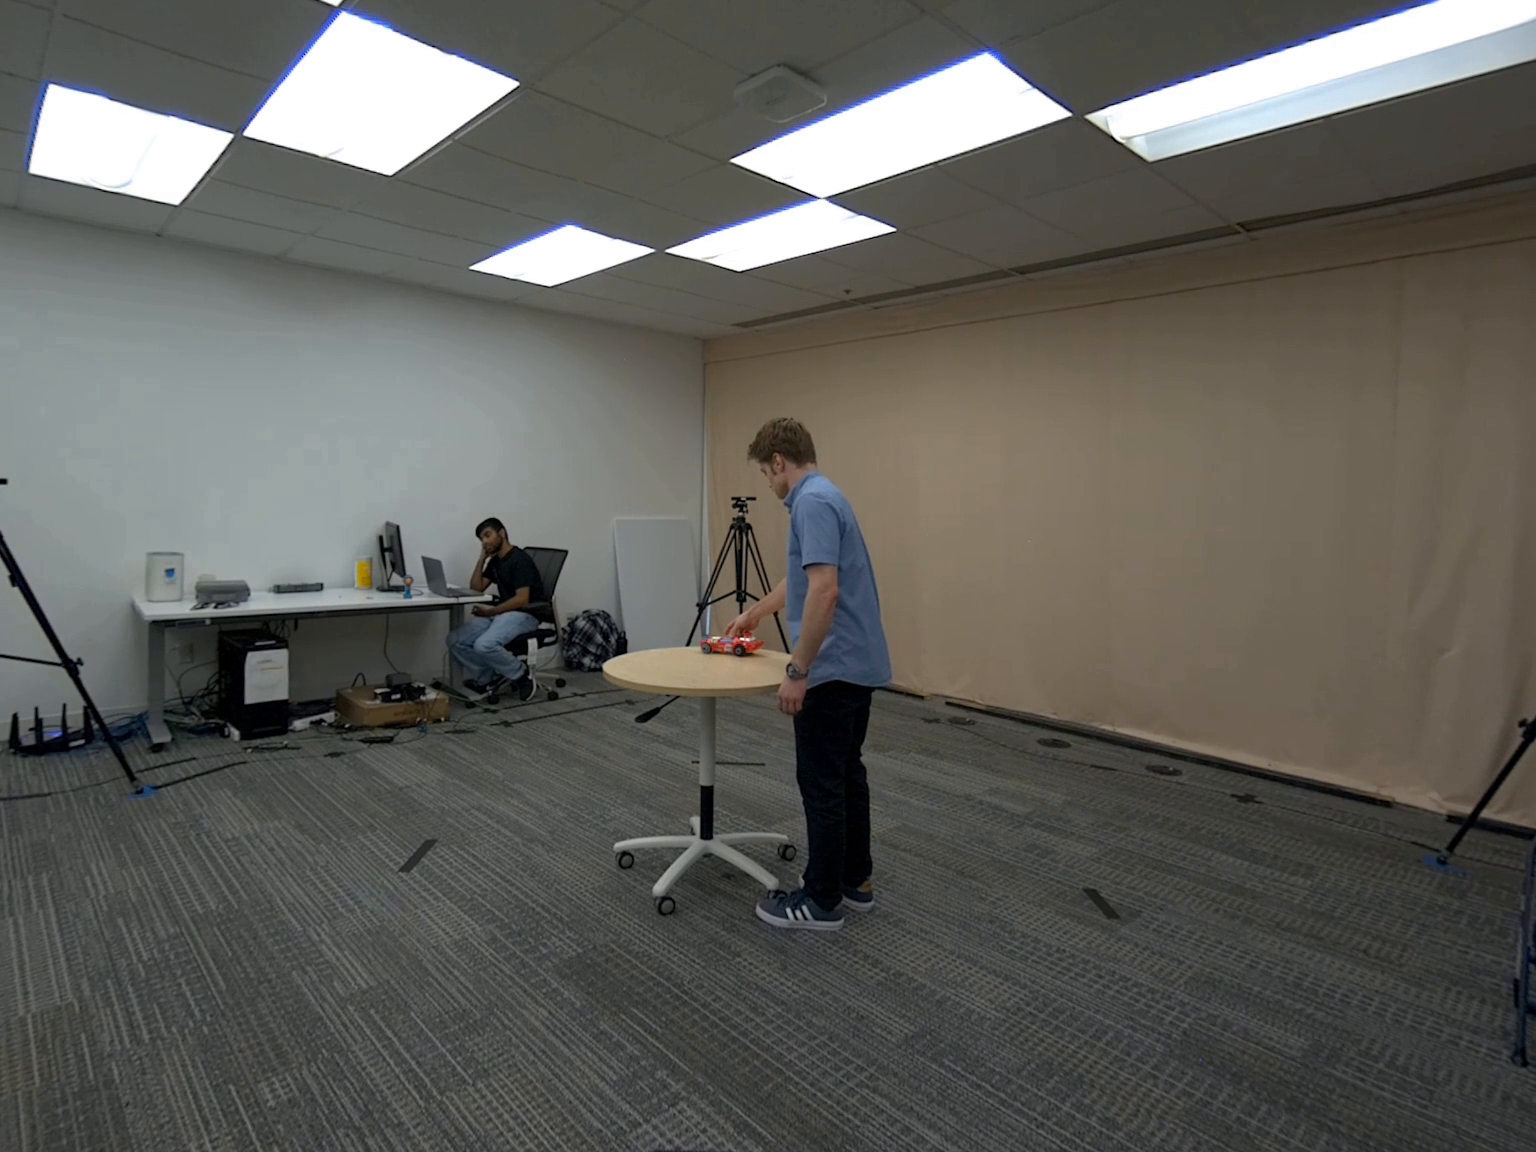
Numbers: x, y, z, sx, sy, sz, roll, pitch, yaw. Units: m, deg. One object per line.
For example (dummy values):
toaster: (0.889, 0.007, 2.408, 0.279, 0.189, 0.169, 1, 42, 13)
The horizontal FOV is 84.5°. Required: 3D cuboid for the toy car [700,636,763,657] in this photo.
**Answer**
toy car: (-0.147, 0.276, 3.291, 0.258, 0.083, 0.128, -10, -1, 25)
